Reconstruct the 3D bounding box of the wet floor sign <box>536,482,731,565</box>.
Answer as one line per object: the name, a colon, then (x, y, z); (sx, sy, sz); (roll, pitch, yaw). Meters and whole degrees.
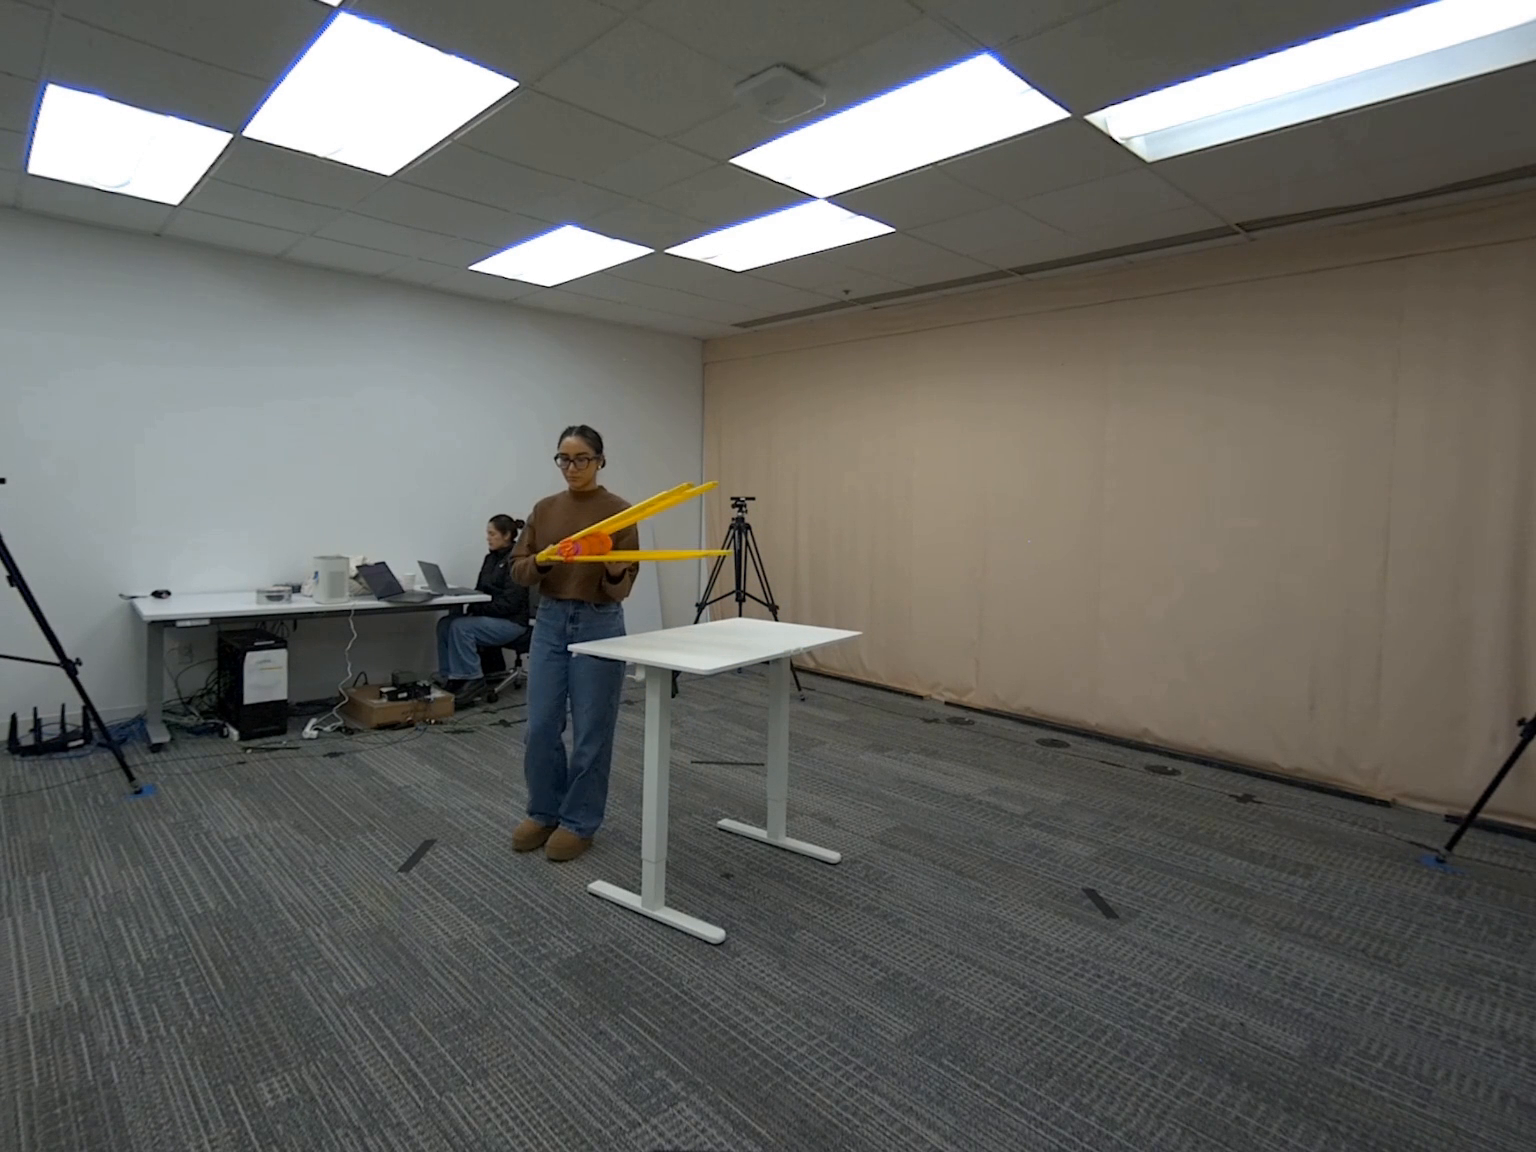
wet floor sign: (-0.492, -0.126, 2.893); (0.655, 0.289, 0.279); (-9, 2, 22)
